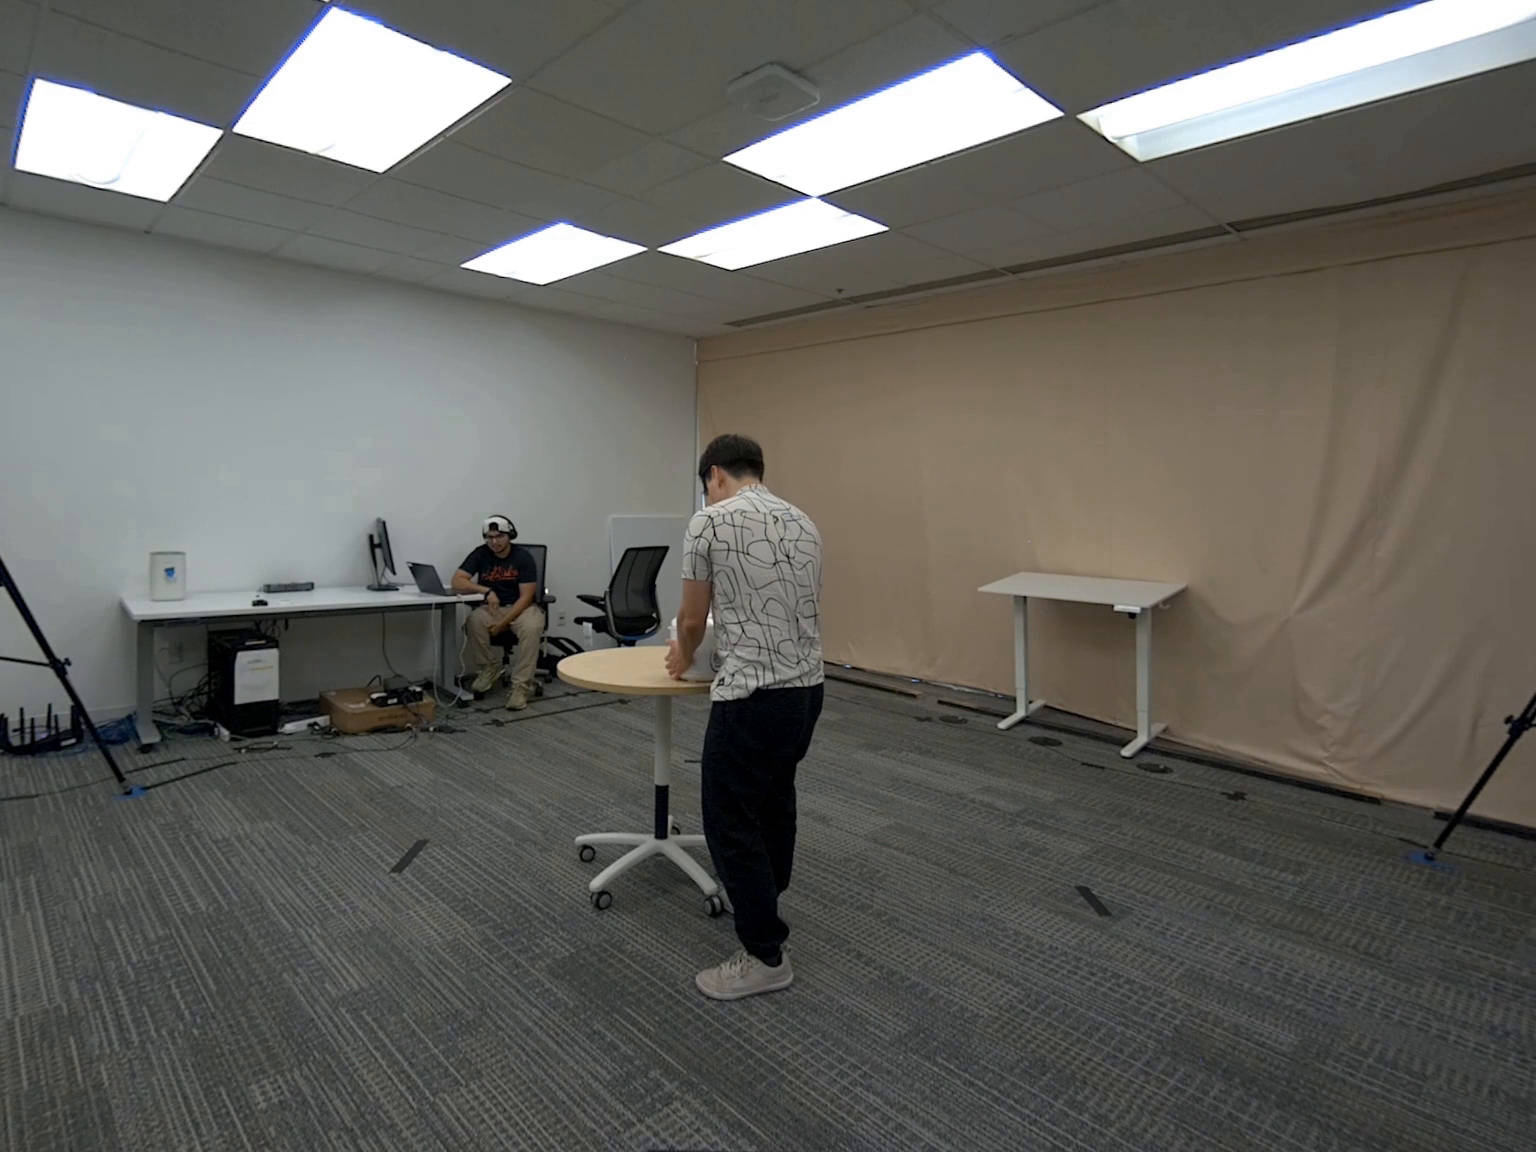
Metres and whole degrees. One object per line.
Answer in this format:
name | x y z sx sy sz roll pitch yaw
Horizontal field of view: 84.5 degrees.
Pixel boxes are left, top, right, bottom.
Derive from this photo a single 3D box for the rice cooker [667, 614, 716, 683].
rice cooker | -0.231 0.231 2.845 0.216 0.232 0.223 -1 4 -37
